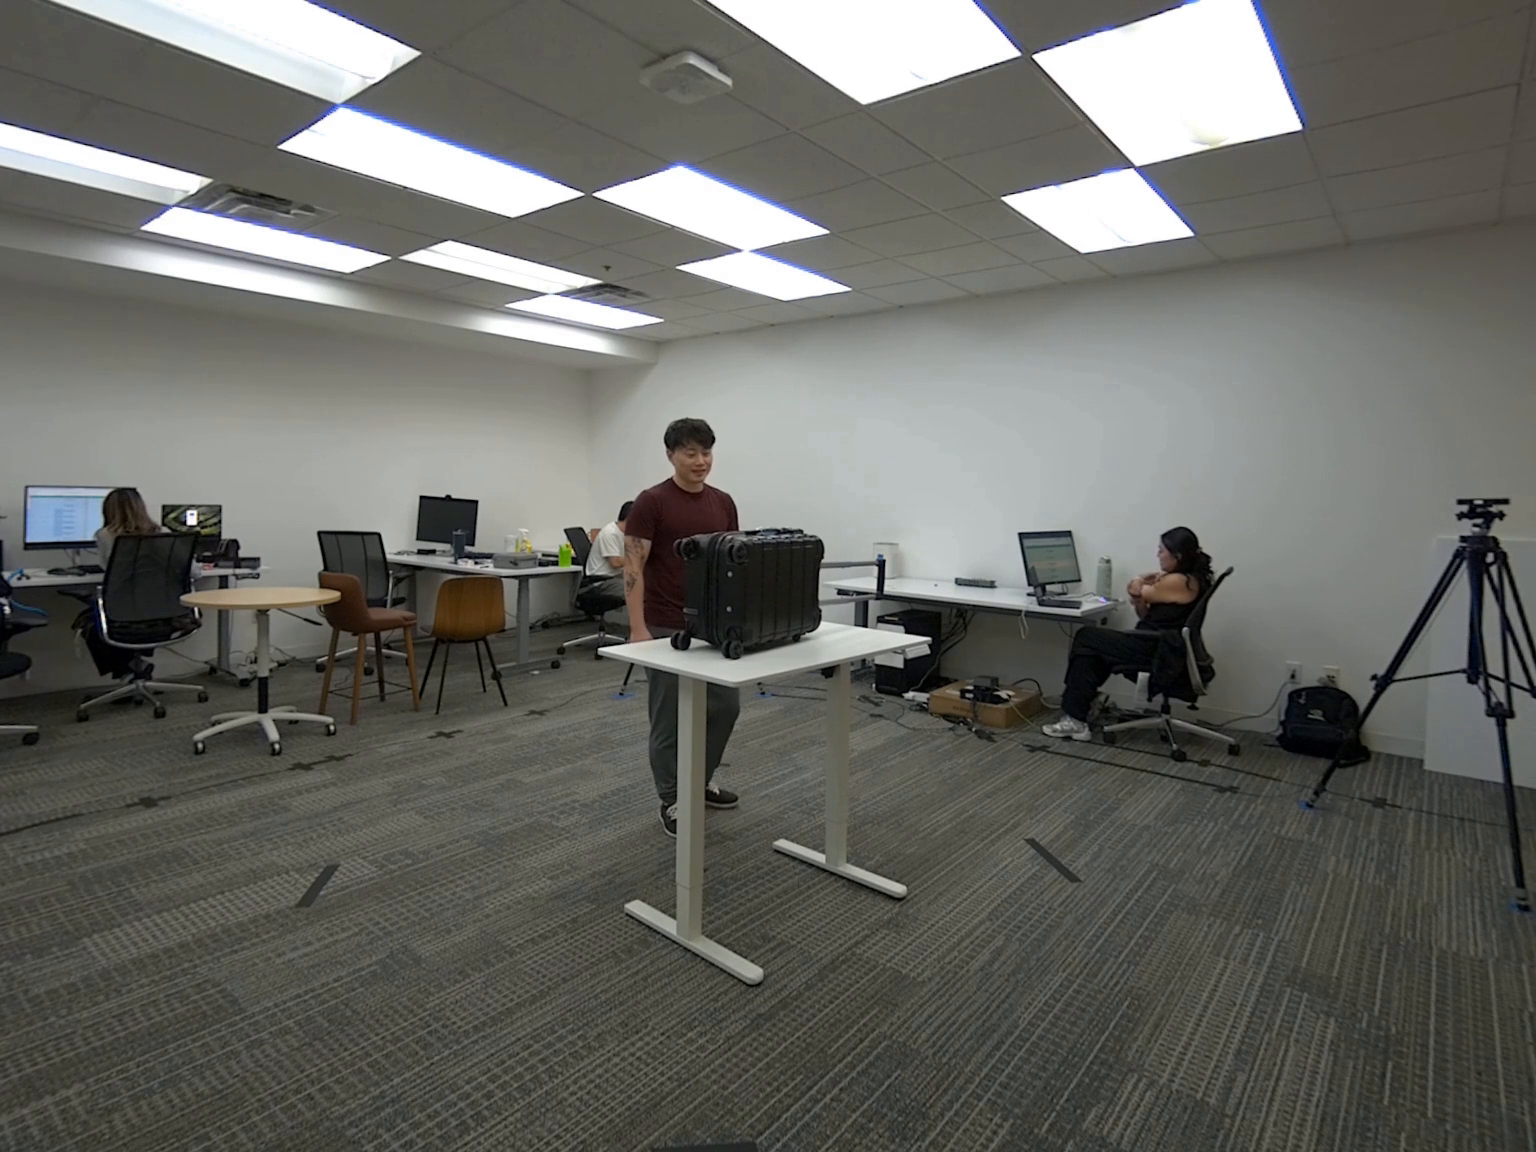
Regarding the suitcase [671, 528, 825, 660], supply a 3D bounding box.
[{"bbox_3d":[0.067,0.023,2.965,0.265,0.383,0.952,2,5,34],"label":"suitcase"}]
